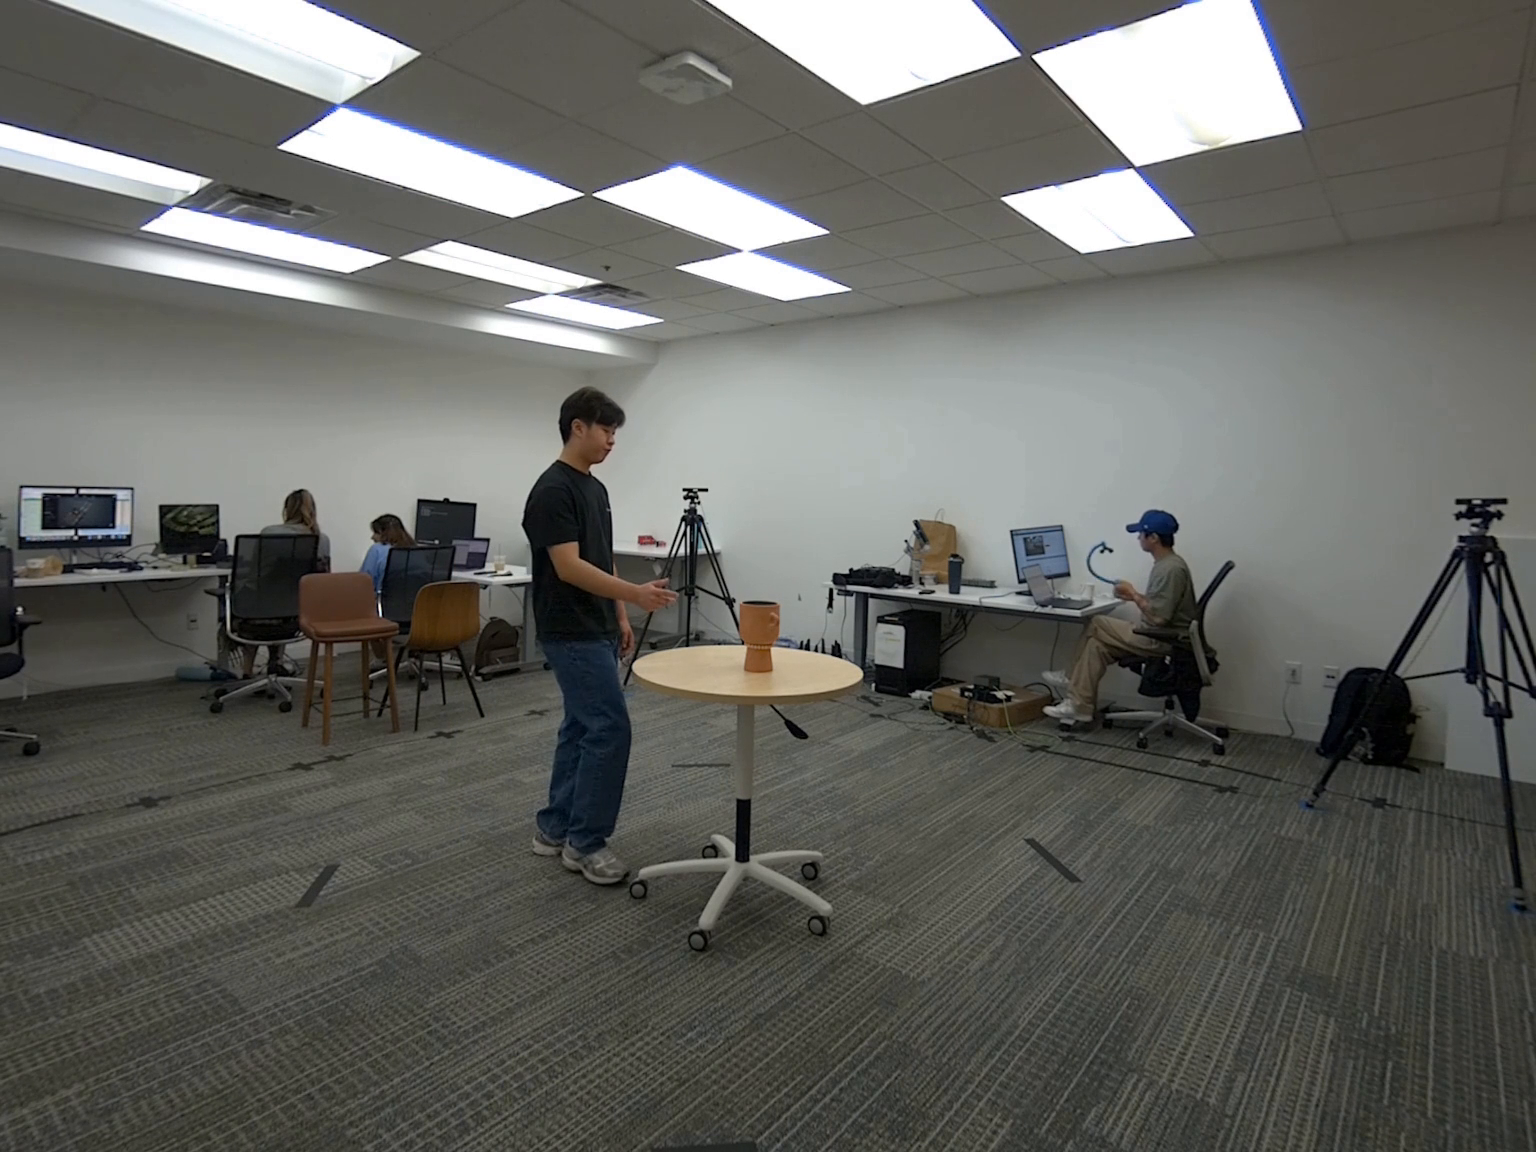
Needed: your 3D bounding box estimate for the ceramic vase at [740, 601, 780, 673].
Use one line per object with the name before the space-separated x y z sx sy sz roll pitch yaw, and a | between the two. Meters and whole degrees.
ceramic vase | -0.036 0.199 2.801 0.135 0.219 0.159 2 4 3
